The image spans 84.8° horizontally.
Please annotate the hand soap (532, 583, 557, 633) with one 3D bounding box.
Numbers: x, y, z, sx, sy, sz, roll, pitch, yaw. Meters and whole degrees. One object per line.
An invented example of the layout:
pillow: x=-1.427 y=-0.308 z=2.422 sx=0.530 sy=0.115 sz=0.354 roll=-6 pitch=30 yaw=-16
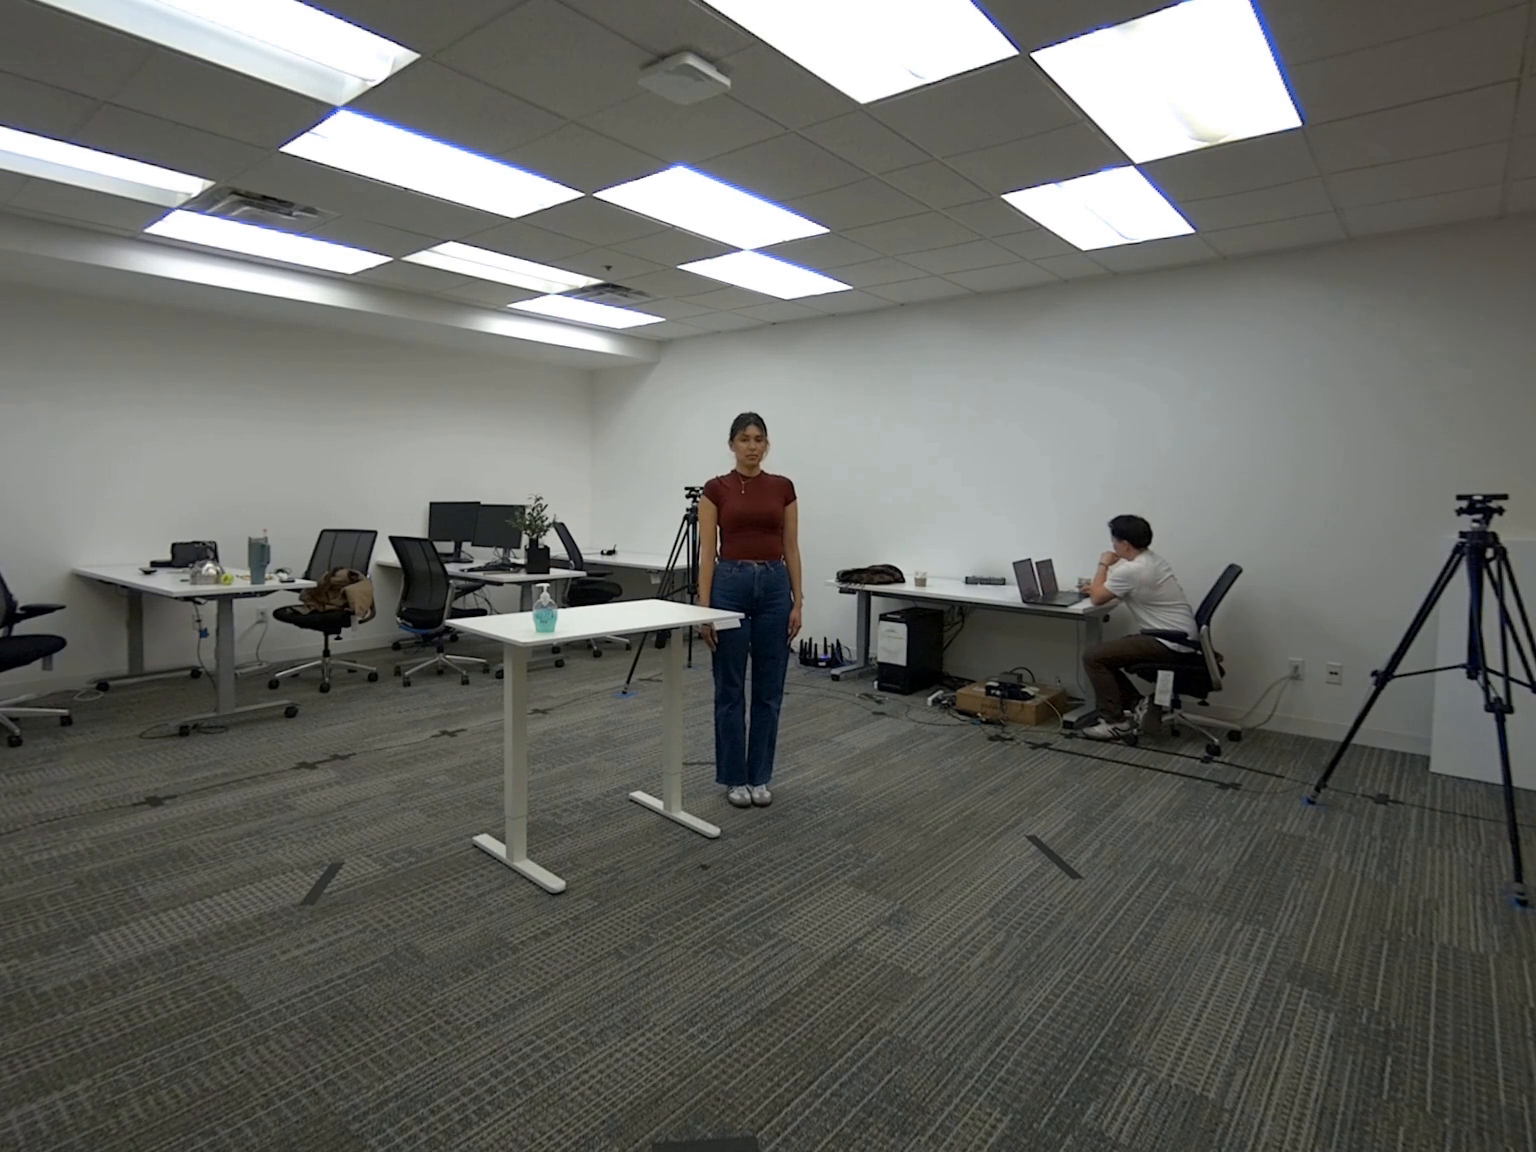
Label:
hand soap: x=-0.787 y=0.108 z=2.964 sx=0.084 sy=0.167 sz=0.044 roll=0 pitch=5 yaw=-4
